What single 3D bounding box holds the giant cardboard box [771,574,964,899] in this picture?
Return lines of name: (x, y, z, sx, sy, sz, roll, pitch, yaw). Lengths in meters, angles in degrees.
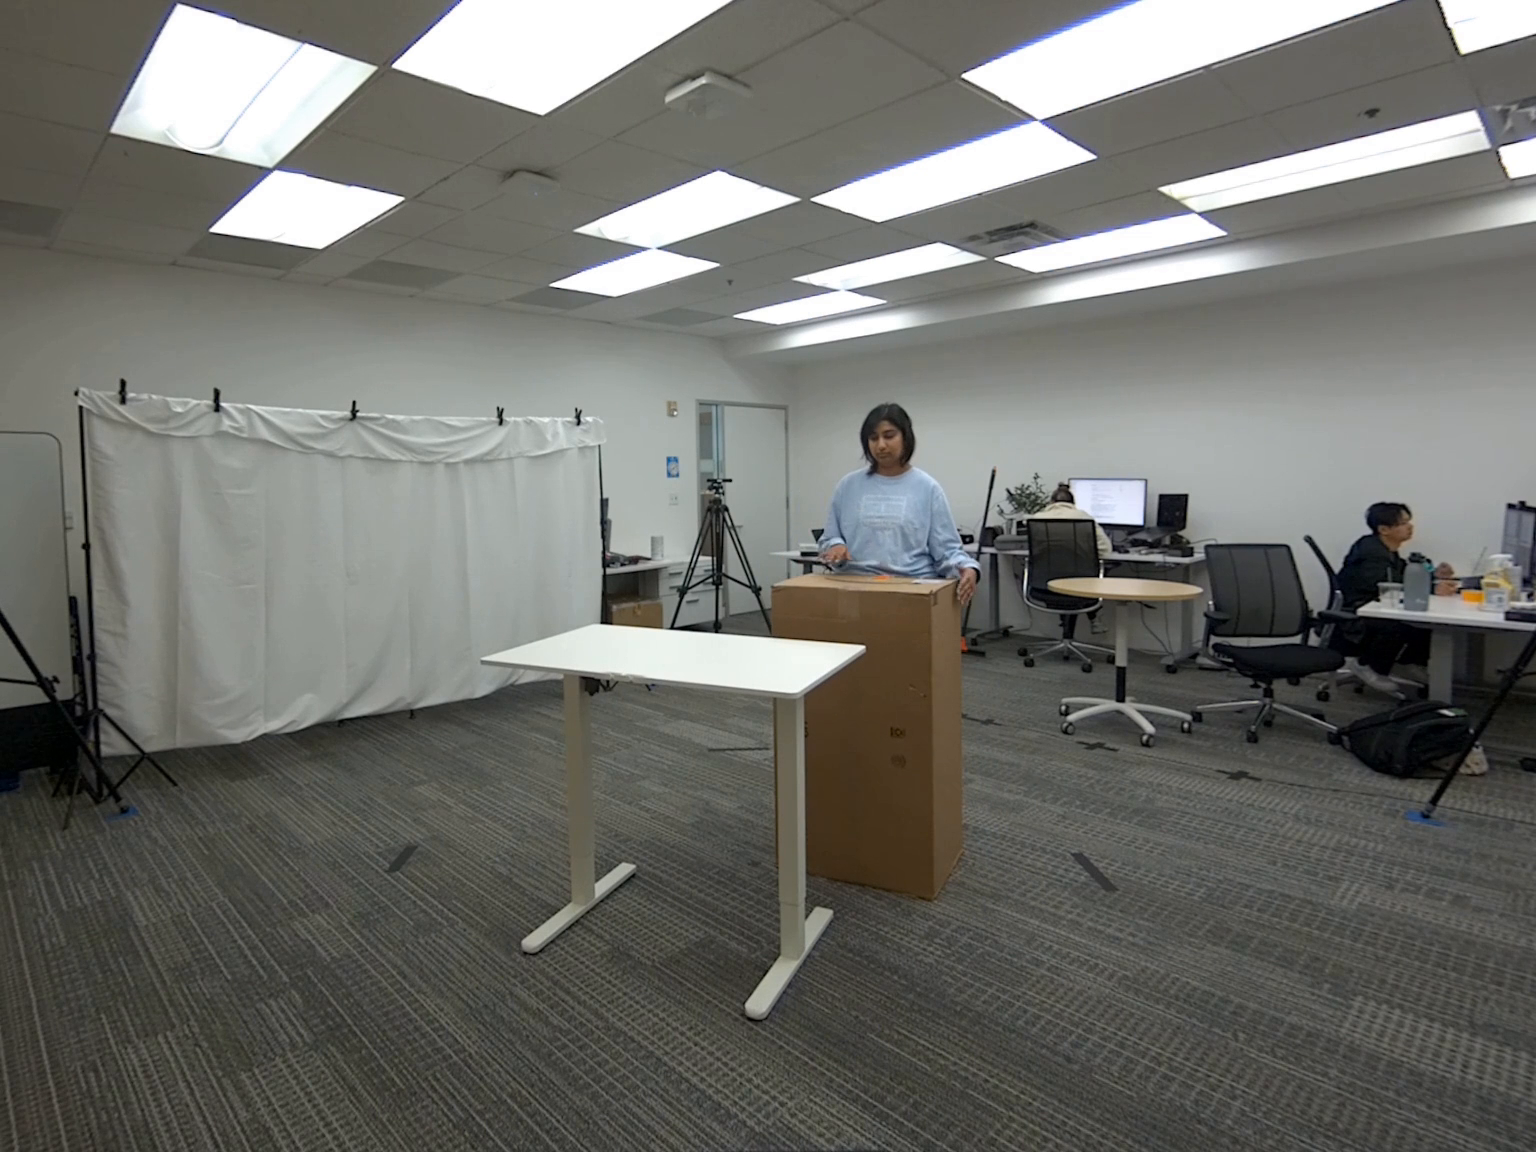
giant cardboard box: (0.370, 0.532, 3.093, 0.592, 1.023, 0.417, 1, 4, 27)
